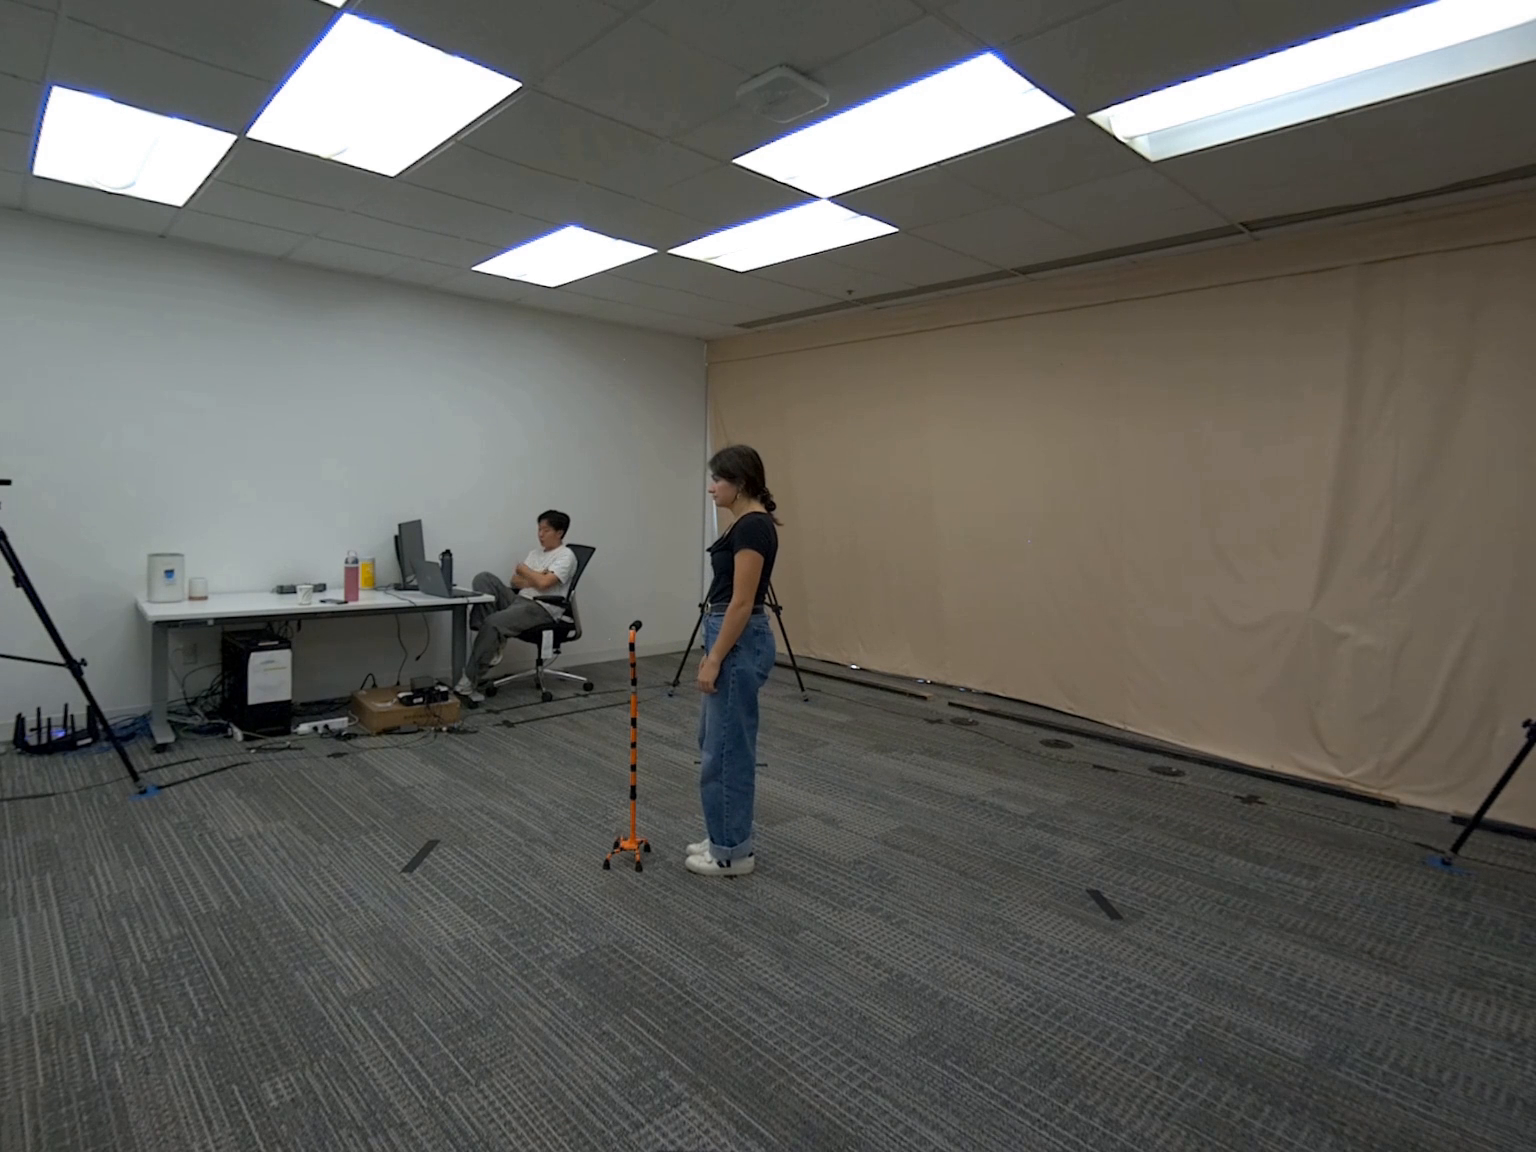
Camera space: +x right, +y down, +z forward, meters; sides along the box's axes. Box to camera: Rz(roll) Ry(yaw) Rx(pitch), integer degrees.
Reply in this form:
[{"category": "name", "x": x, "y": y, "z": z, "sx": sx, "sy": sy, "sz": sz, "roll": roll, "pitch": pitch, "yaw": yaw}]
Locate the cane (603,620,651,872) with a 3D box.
[{"category": "cane", "x": -0.530, "y": 0.632, "z": 3.204, "sx": 0.152, "sy": 0.906, "sz": 0.206, "roll": 1, "pitch": 3, "yaw": 2}]
